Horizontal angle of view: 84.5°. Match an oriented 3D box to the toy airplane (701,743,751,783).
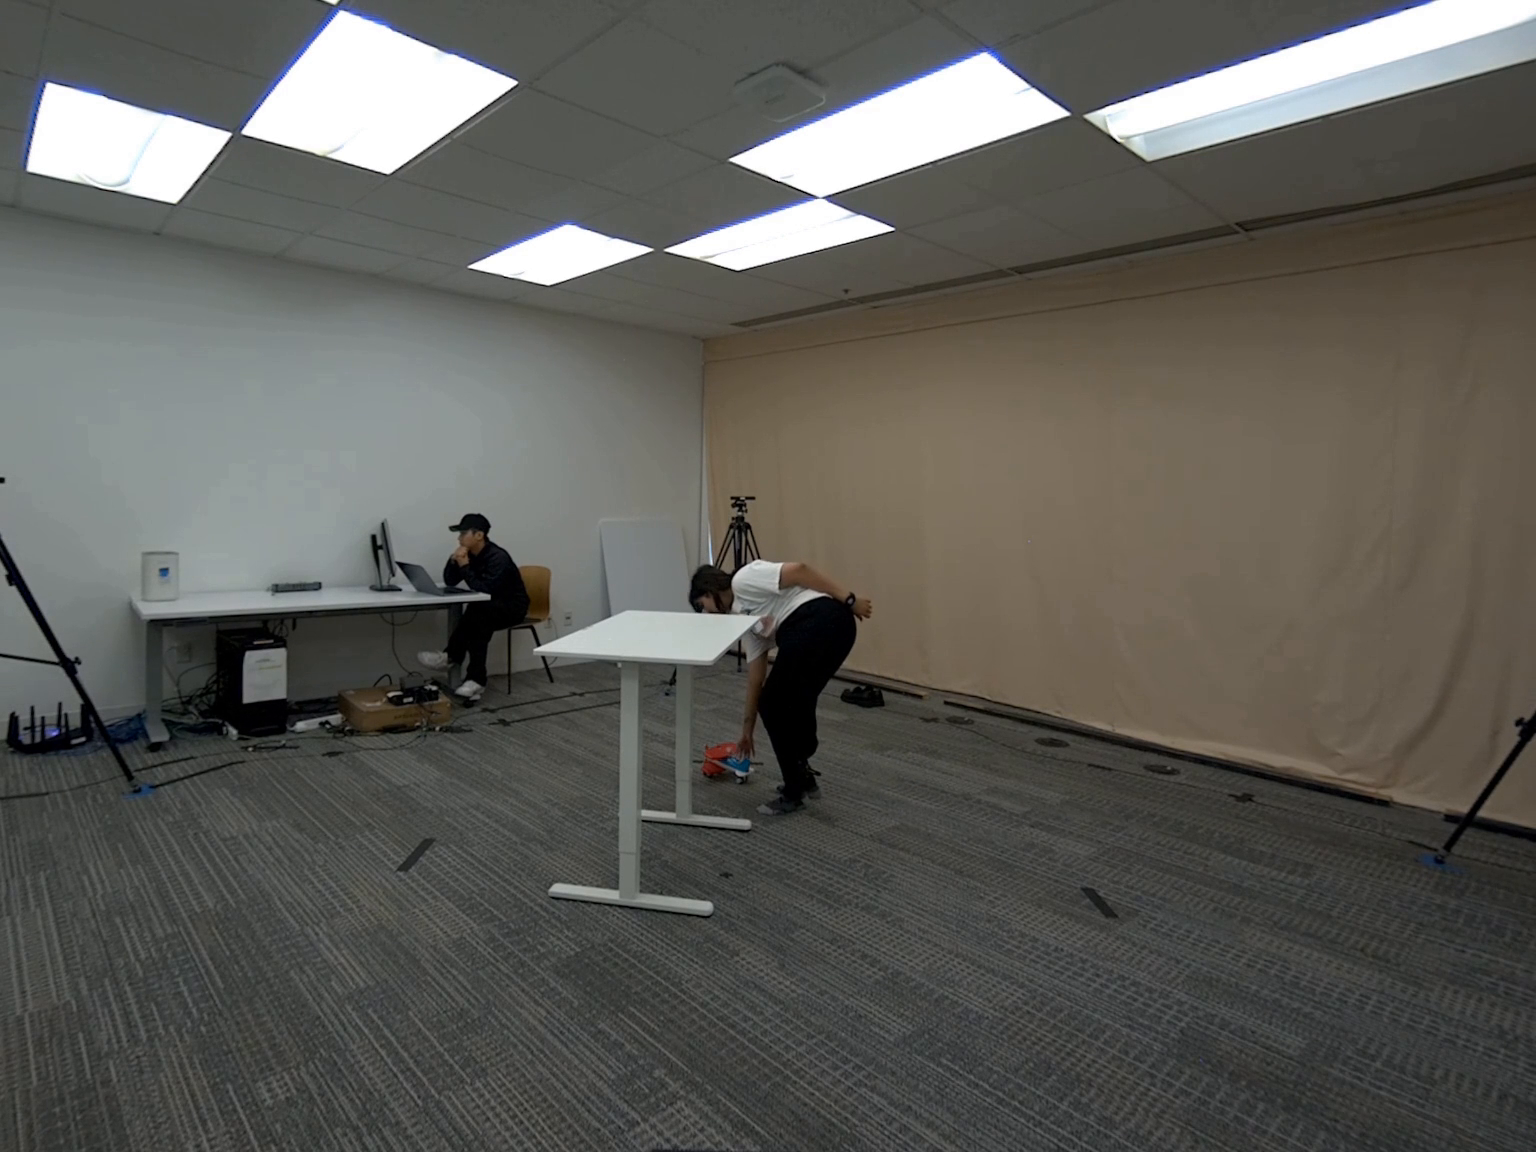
[{"bbox_3d":[-0.211,0.937,4.215,0.261,0.156,0.250,2,4,7],"label":"toy airplane"}]
